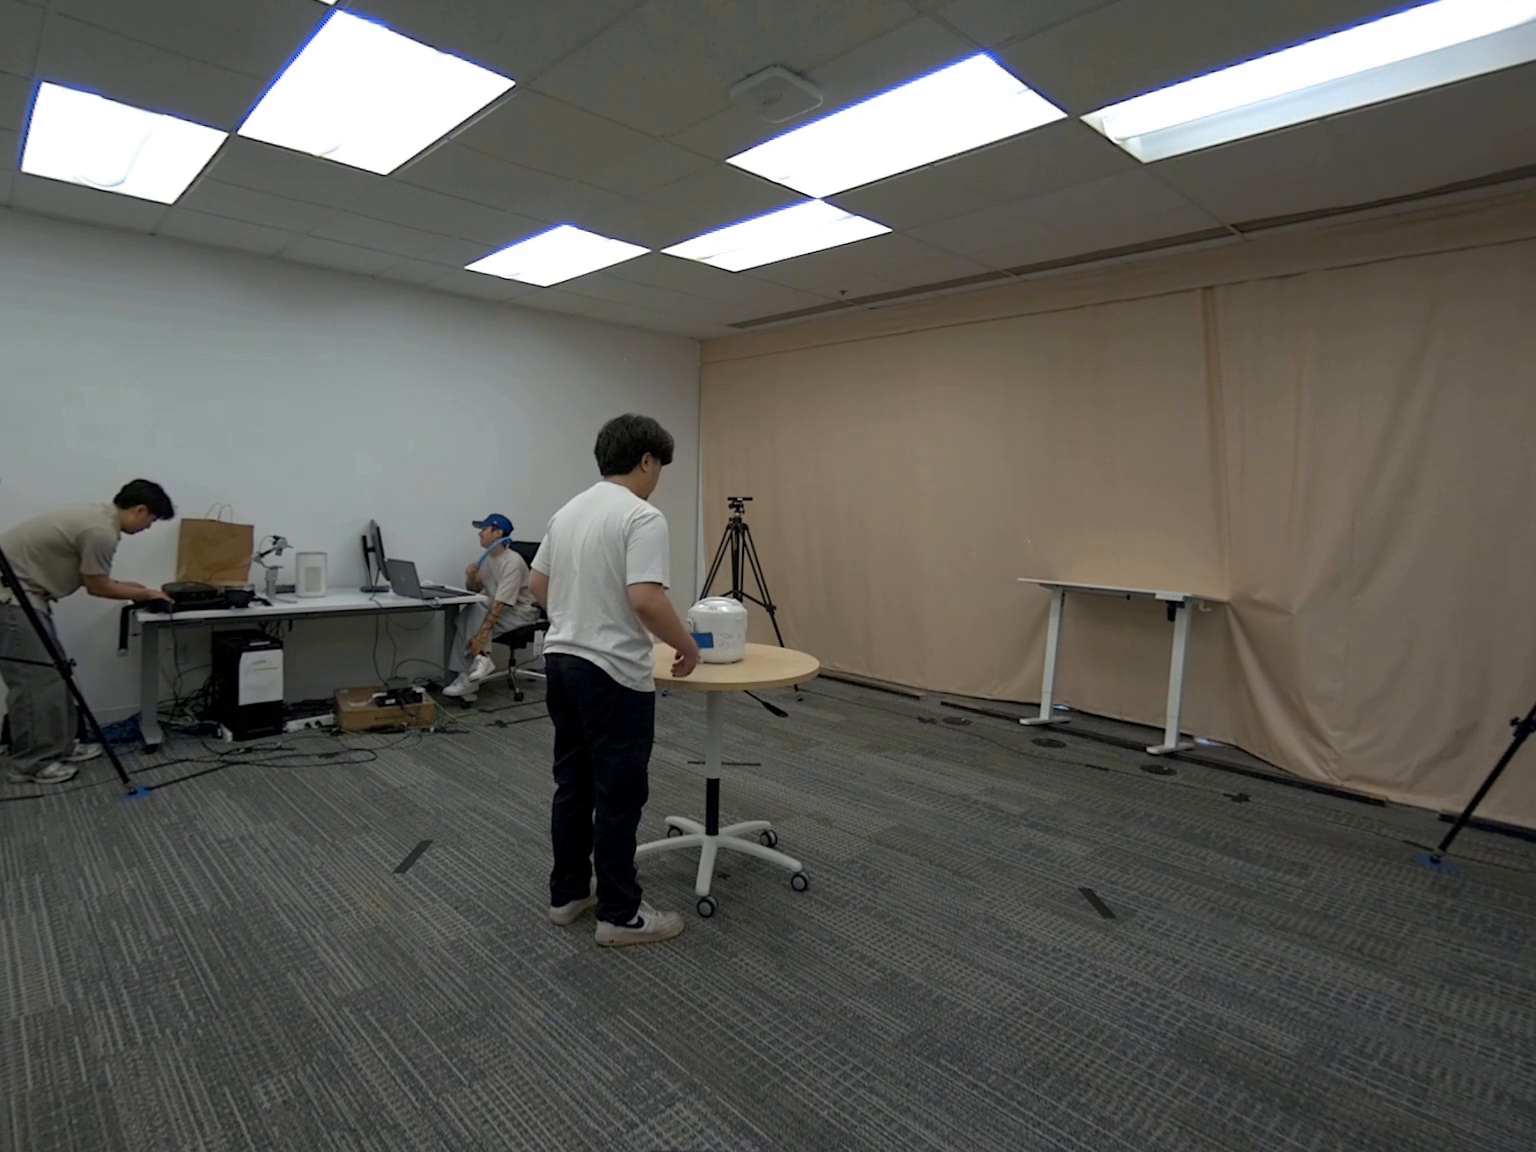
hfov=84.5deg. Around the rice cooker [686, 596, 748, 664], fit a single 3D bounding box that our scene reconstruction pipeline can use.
[{"bbox_3d":[-0.192,0.190,3.109,0.222,0.232,0.217,2,4,5],"label":"rice cooker"}]
